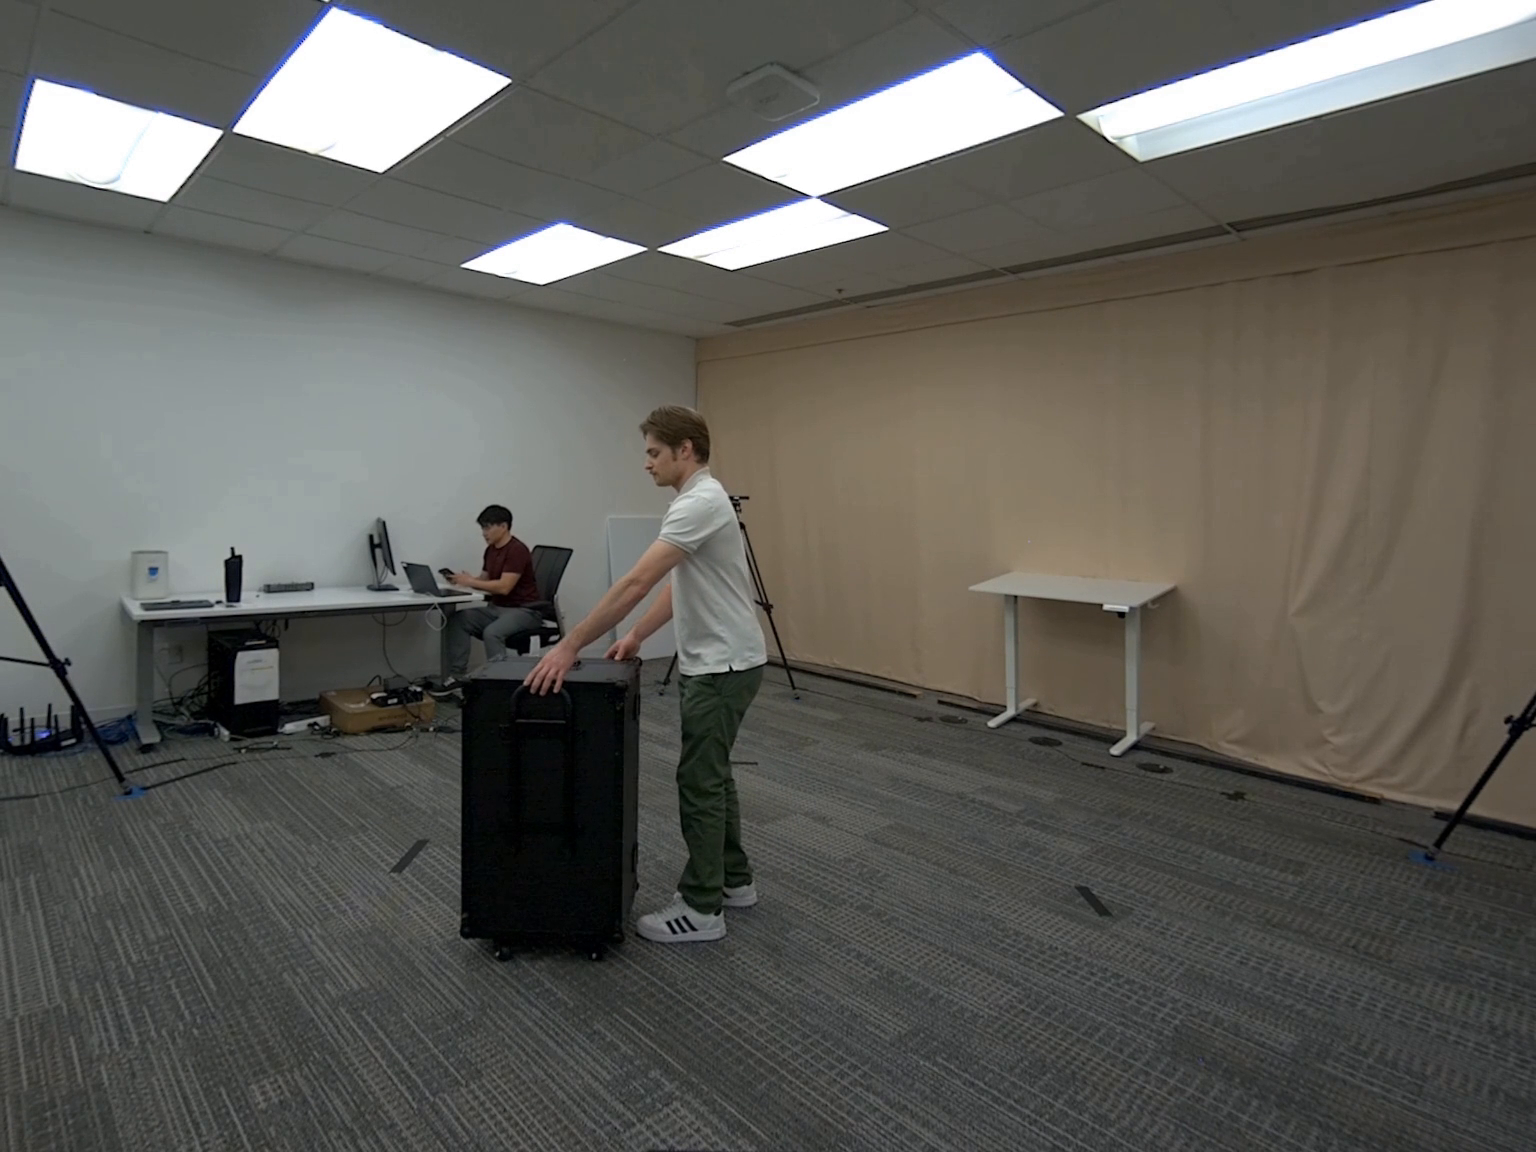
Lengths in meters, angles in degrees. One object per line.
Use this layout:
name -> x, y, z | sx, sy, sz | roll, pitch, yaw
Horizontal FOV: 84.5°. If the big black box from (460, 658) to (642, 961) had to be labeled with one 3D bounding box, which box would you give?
big black box -> -0.668, 0.718, 2.633 | 0.524, 0.866, 0.386 | 0, 4, 1
